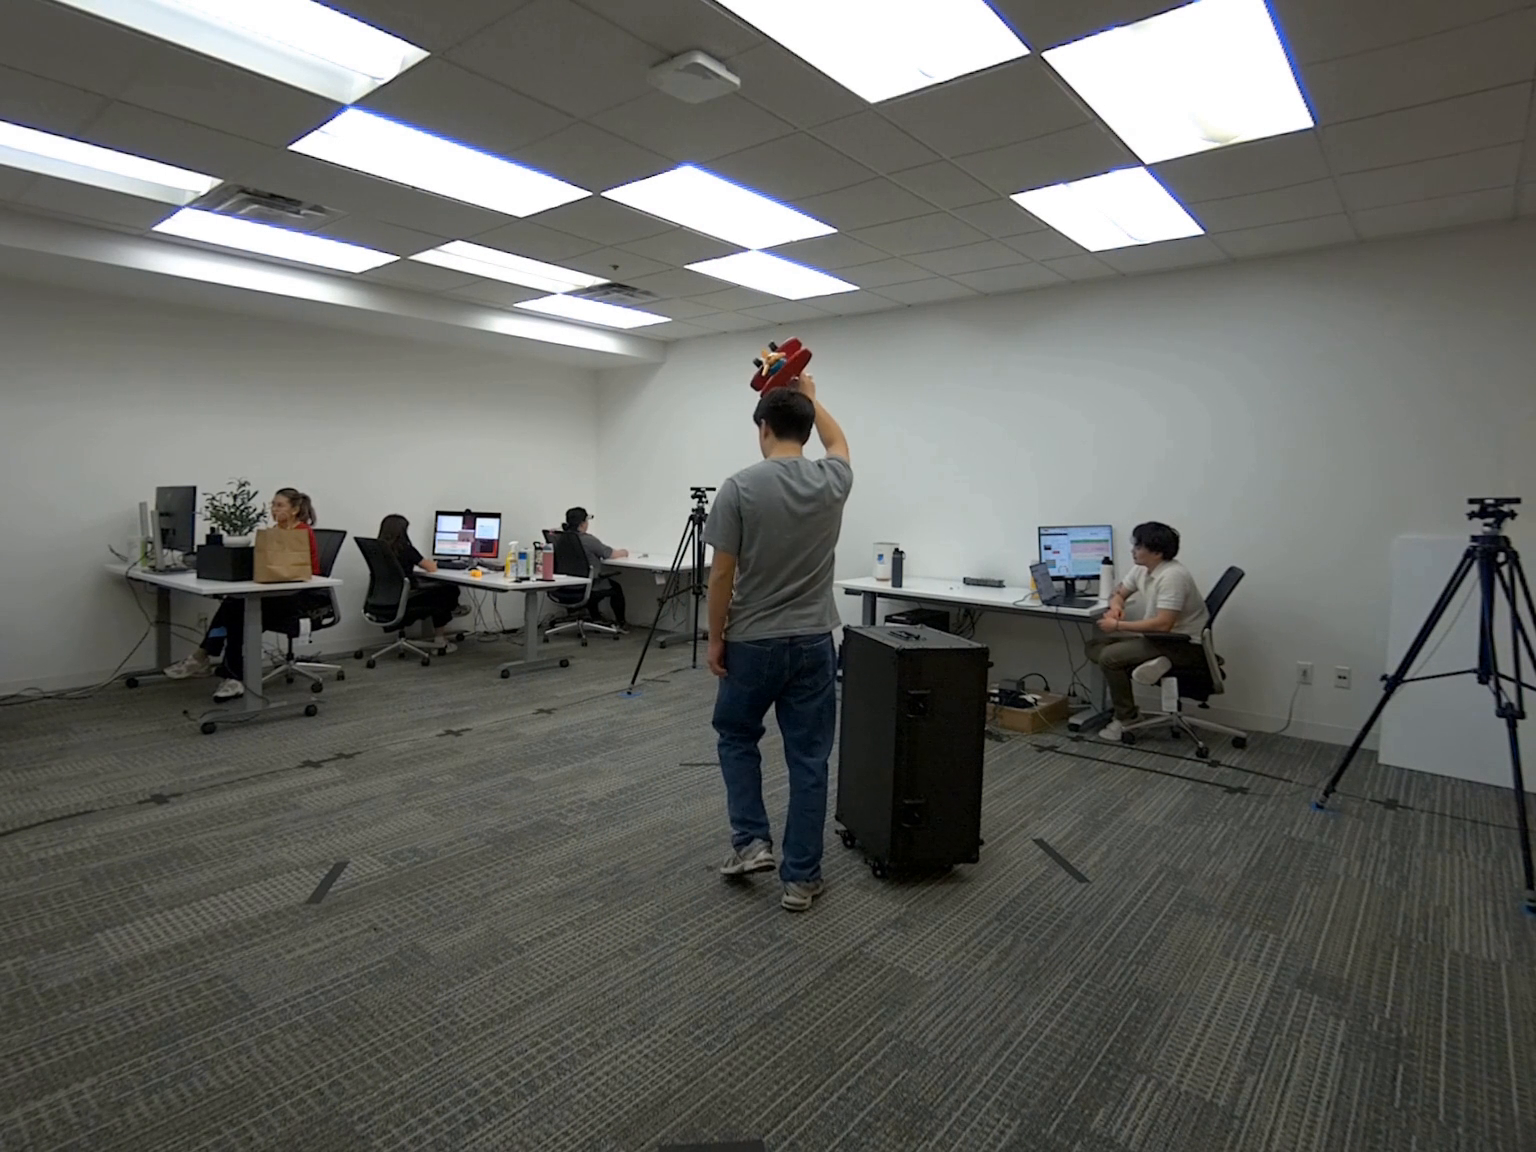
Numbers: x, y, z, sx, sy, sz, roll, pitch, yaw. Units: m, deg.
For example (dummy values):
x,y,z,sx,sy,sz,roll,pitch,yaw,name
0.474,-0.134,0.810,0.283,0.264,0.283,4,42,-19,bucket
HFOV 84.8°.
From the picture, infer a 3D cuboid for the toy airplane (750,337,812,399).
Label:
x,y,z,sx,sy,sz,roll,pitch,yaw,name
0.064,-0.801,3.297,0.253,0.247,0.163,4,33,-24,toy airplane
